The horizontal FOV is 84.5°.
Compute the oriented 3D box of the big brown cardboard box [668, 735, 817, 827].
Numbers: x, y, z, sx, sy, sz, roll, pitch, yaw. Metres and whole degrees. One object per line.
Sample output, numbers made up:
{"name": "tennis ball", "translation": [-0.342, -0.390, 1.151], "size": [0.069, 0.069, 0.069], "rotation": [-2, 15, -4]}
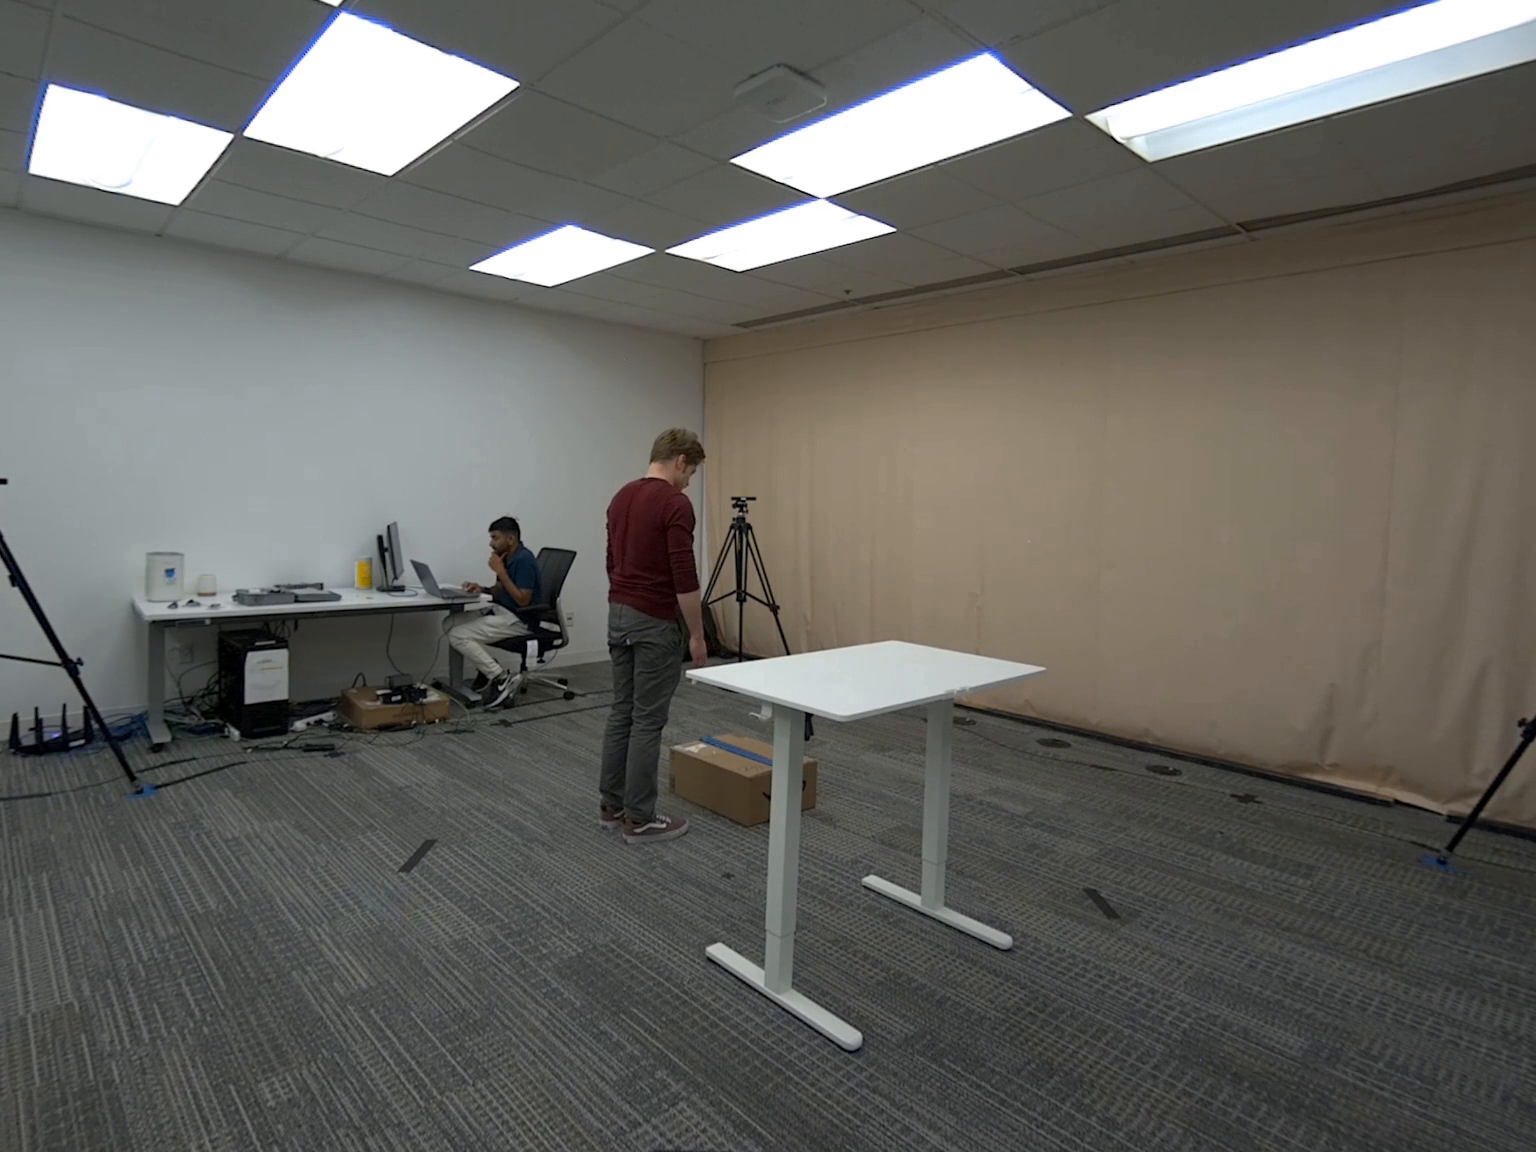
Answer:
{"name": "big brown cardboard box", "translation": [-0.137, 0.928, 3.912], "size": [0.408, 0.232, 0.604], "rotation": [-2, 7, -43]}
